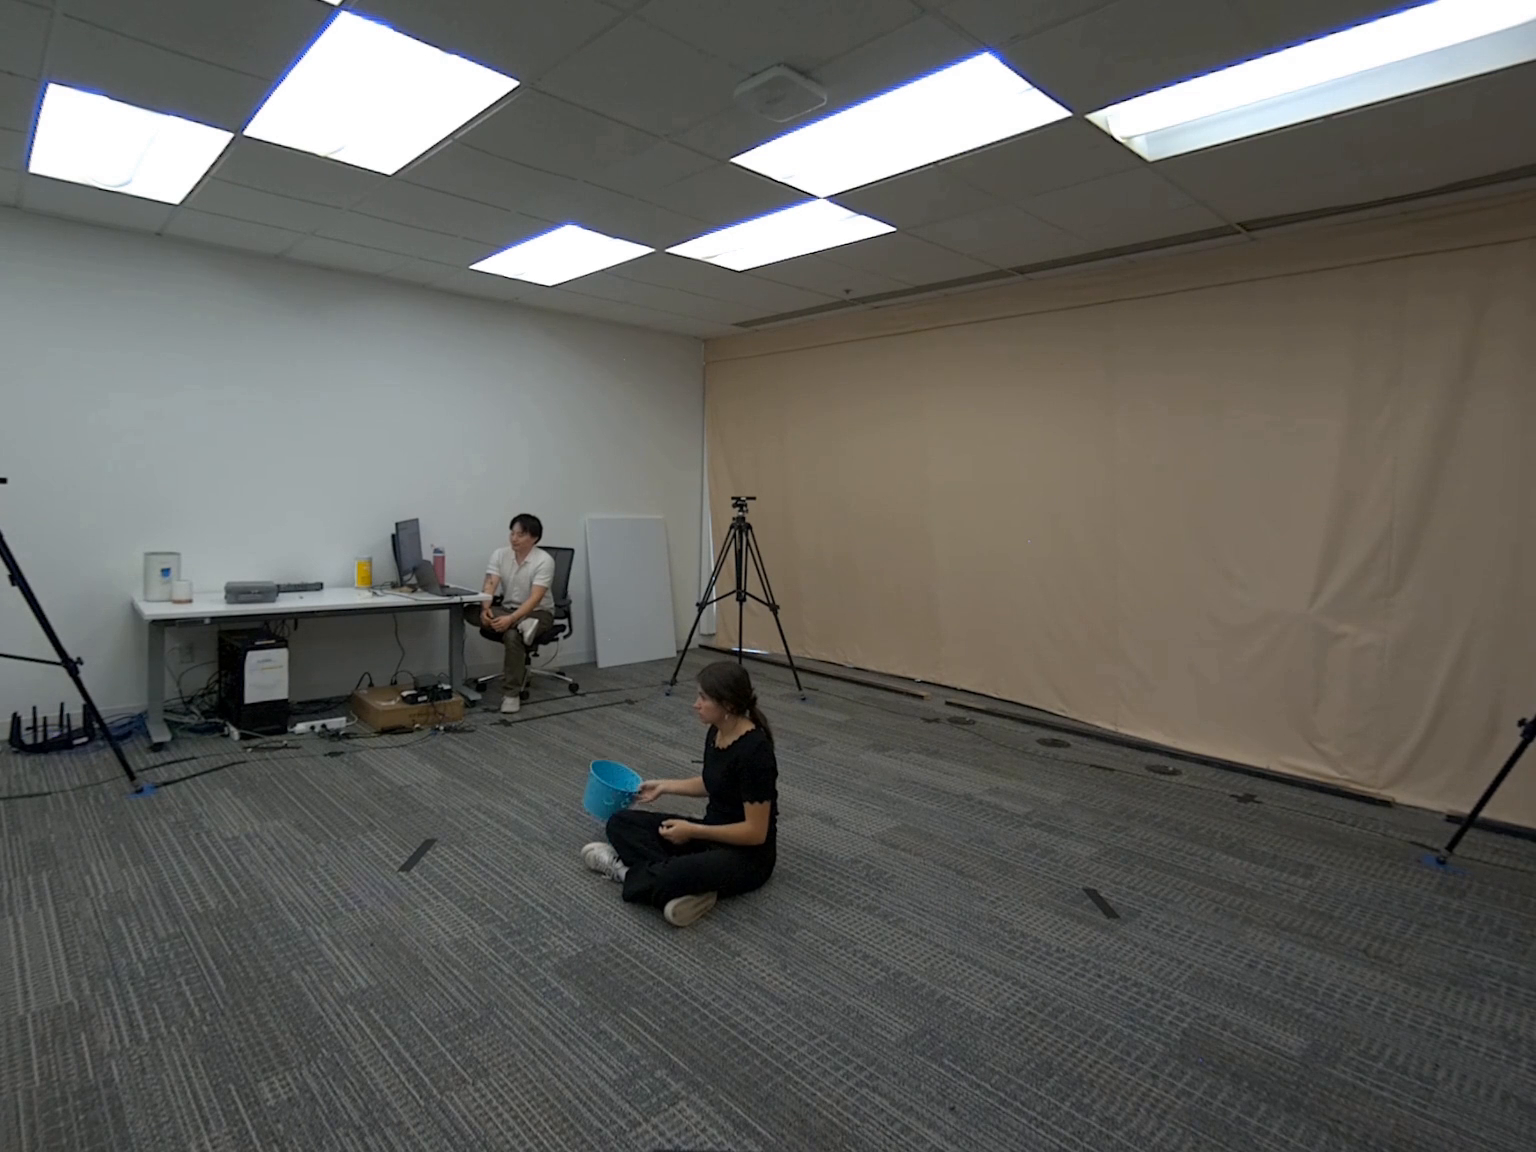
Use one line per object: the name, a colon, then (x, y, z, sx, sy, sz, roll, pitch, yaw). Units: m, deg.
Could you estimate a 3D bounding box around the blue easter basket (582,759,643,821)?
blue easter basket: (-0.633, 0.861, 3.393, 0.243, 0.155, 0.245, 22, 7, -4)
